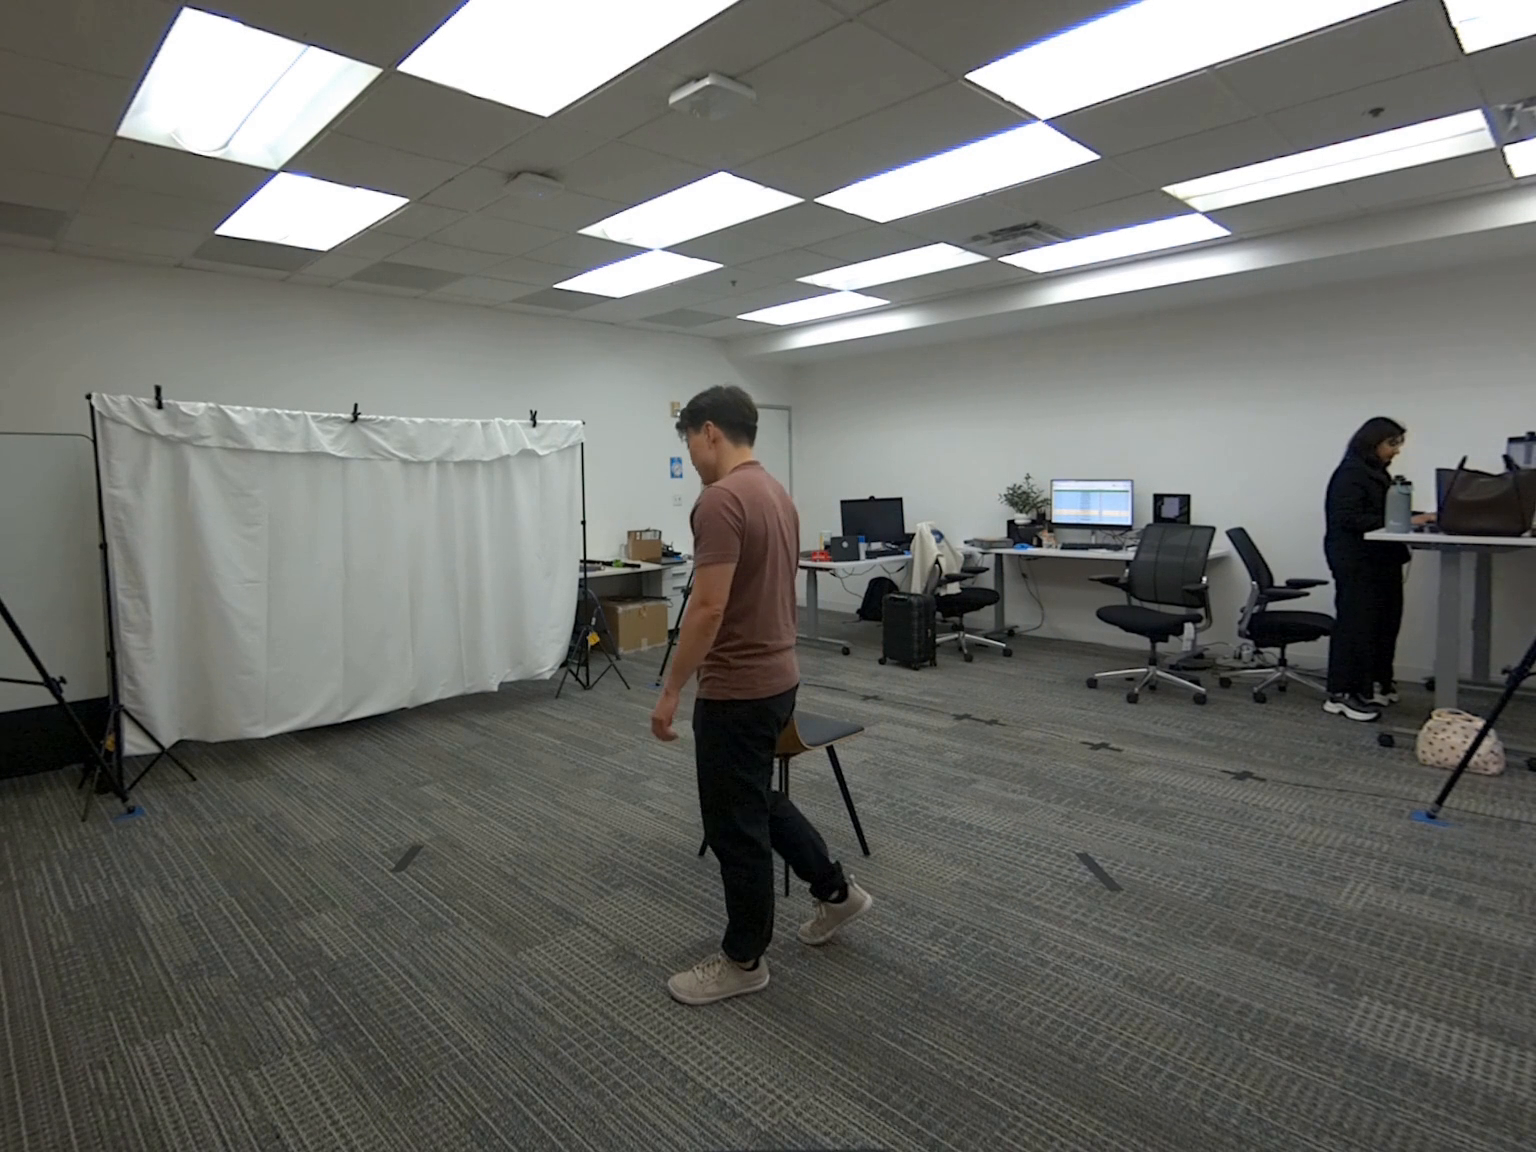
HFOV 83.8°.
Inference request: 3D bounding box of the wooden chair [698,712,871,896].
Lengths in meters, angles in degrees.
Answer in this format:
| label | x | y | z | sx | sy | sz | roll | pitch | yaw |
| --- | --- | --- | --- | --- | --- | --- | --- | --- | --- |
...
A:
| label | x | y | z | sx | sy | sz | roll | pitch | yaw |
| --- | --- | --- | --- | --- | --- | --- | --- | --- | --- |
| wooden chair | 0.059 | 0.613 | 3.145 | 0.511 | 0.871 | 0.493 | -11 | 10 | -44 |
